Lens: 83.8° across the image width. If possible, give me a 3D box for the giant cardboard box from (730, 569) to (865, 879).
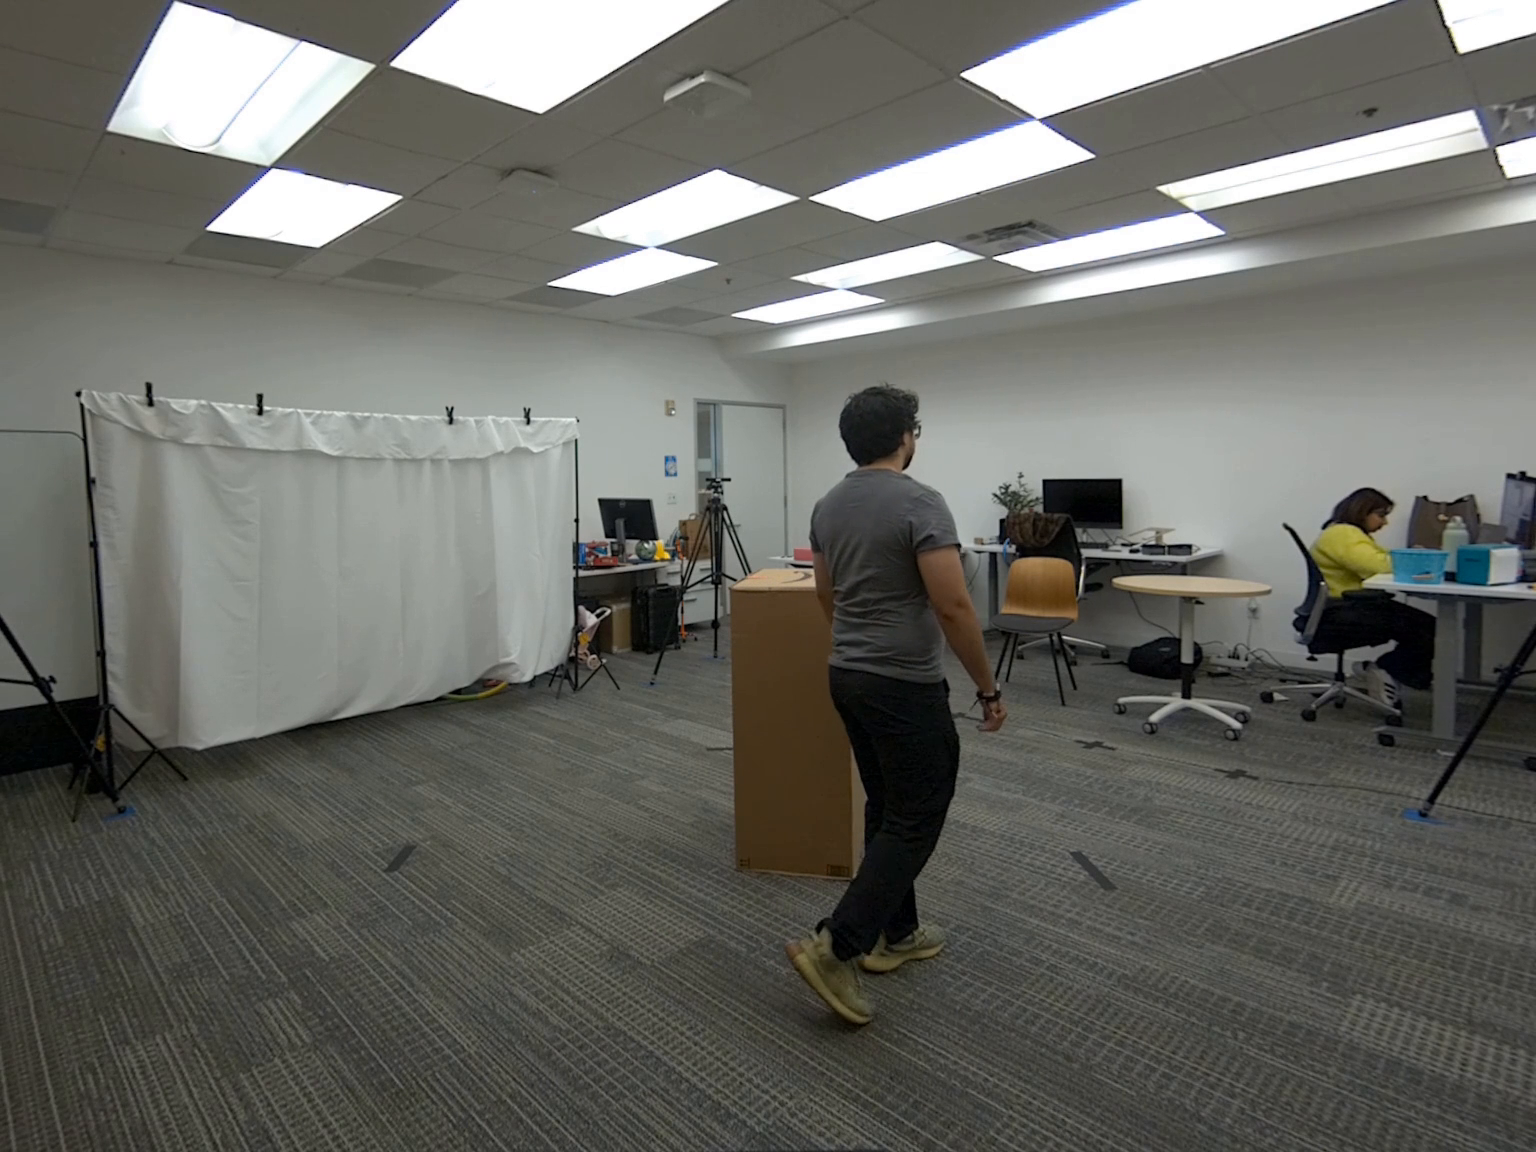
[{"bbox_3d":[0.129,0.511,3.236,0.432,1.022,0.572,0,4,14],"label":"giant cardboard box"}]
